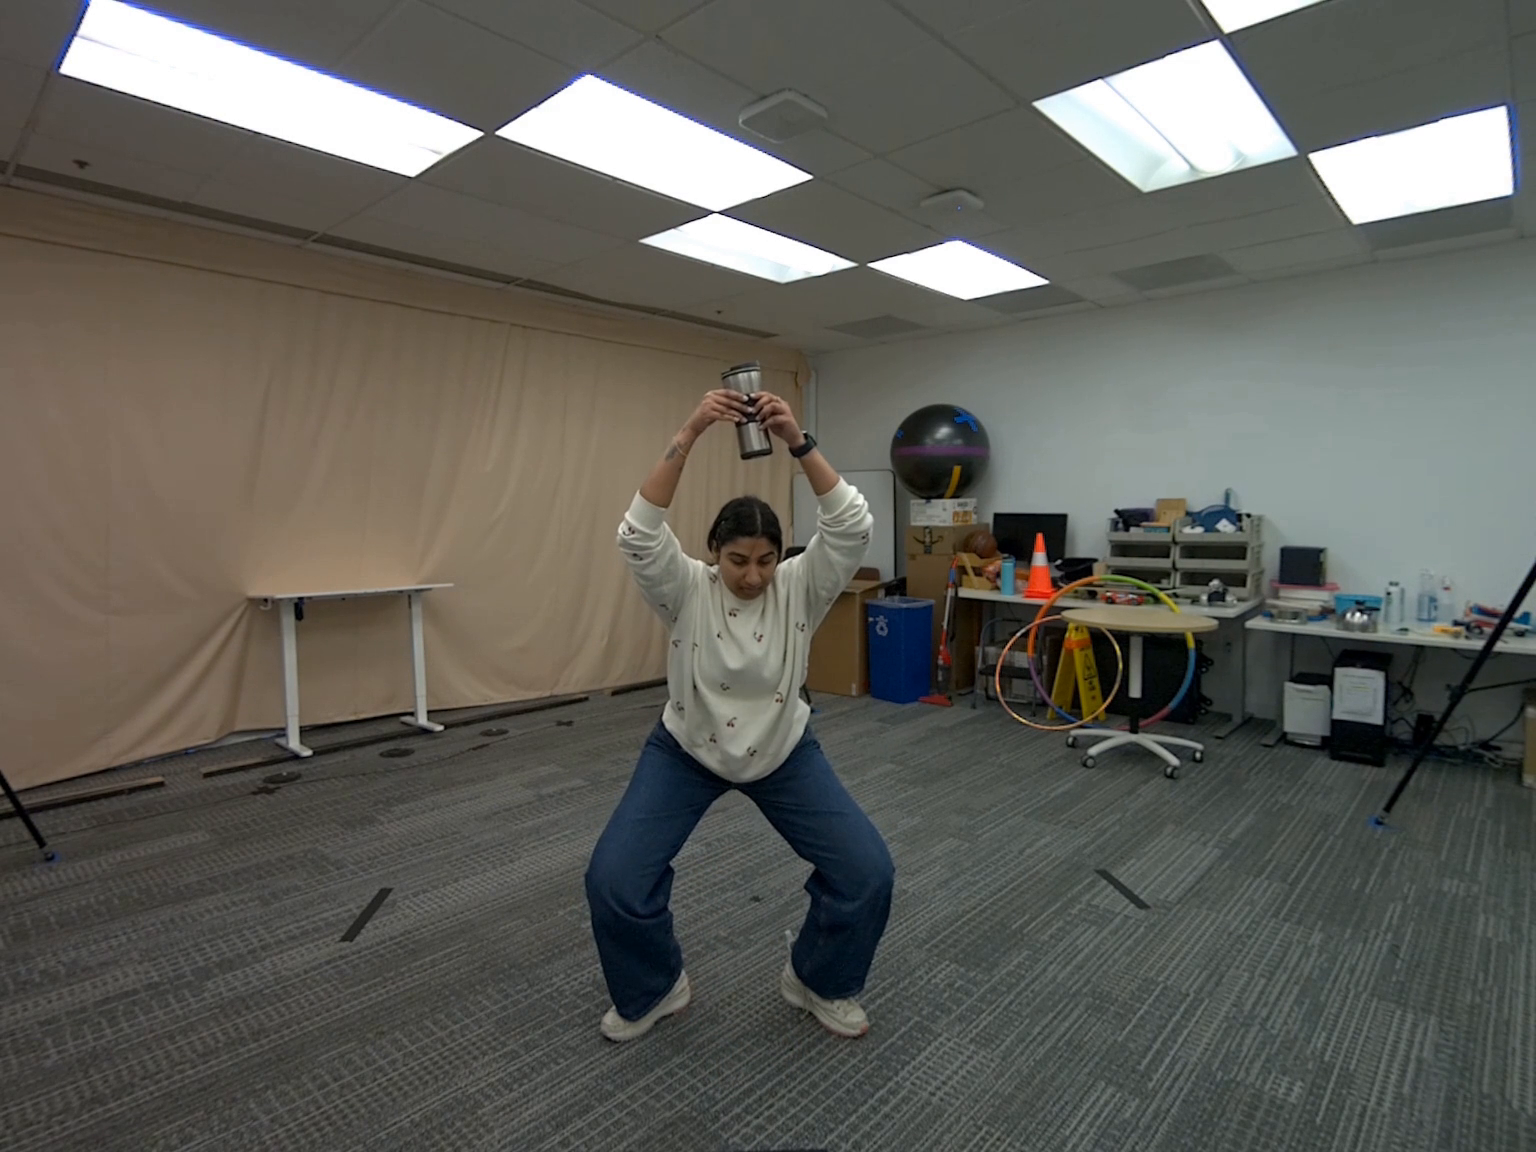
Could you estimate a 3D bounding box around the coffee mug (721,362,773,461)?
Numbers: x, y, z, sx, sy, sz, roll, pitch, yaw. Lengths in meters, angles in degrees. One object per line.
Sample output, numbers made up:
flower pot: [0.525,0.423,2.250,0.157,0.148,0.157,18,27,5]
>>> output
coffee mug: [-0.027,-0.357,1.810,0.086,0.203,0.124,-9,-3,-23]
